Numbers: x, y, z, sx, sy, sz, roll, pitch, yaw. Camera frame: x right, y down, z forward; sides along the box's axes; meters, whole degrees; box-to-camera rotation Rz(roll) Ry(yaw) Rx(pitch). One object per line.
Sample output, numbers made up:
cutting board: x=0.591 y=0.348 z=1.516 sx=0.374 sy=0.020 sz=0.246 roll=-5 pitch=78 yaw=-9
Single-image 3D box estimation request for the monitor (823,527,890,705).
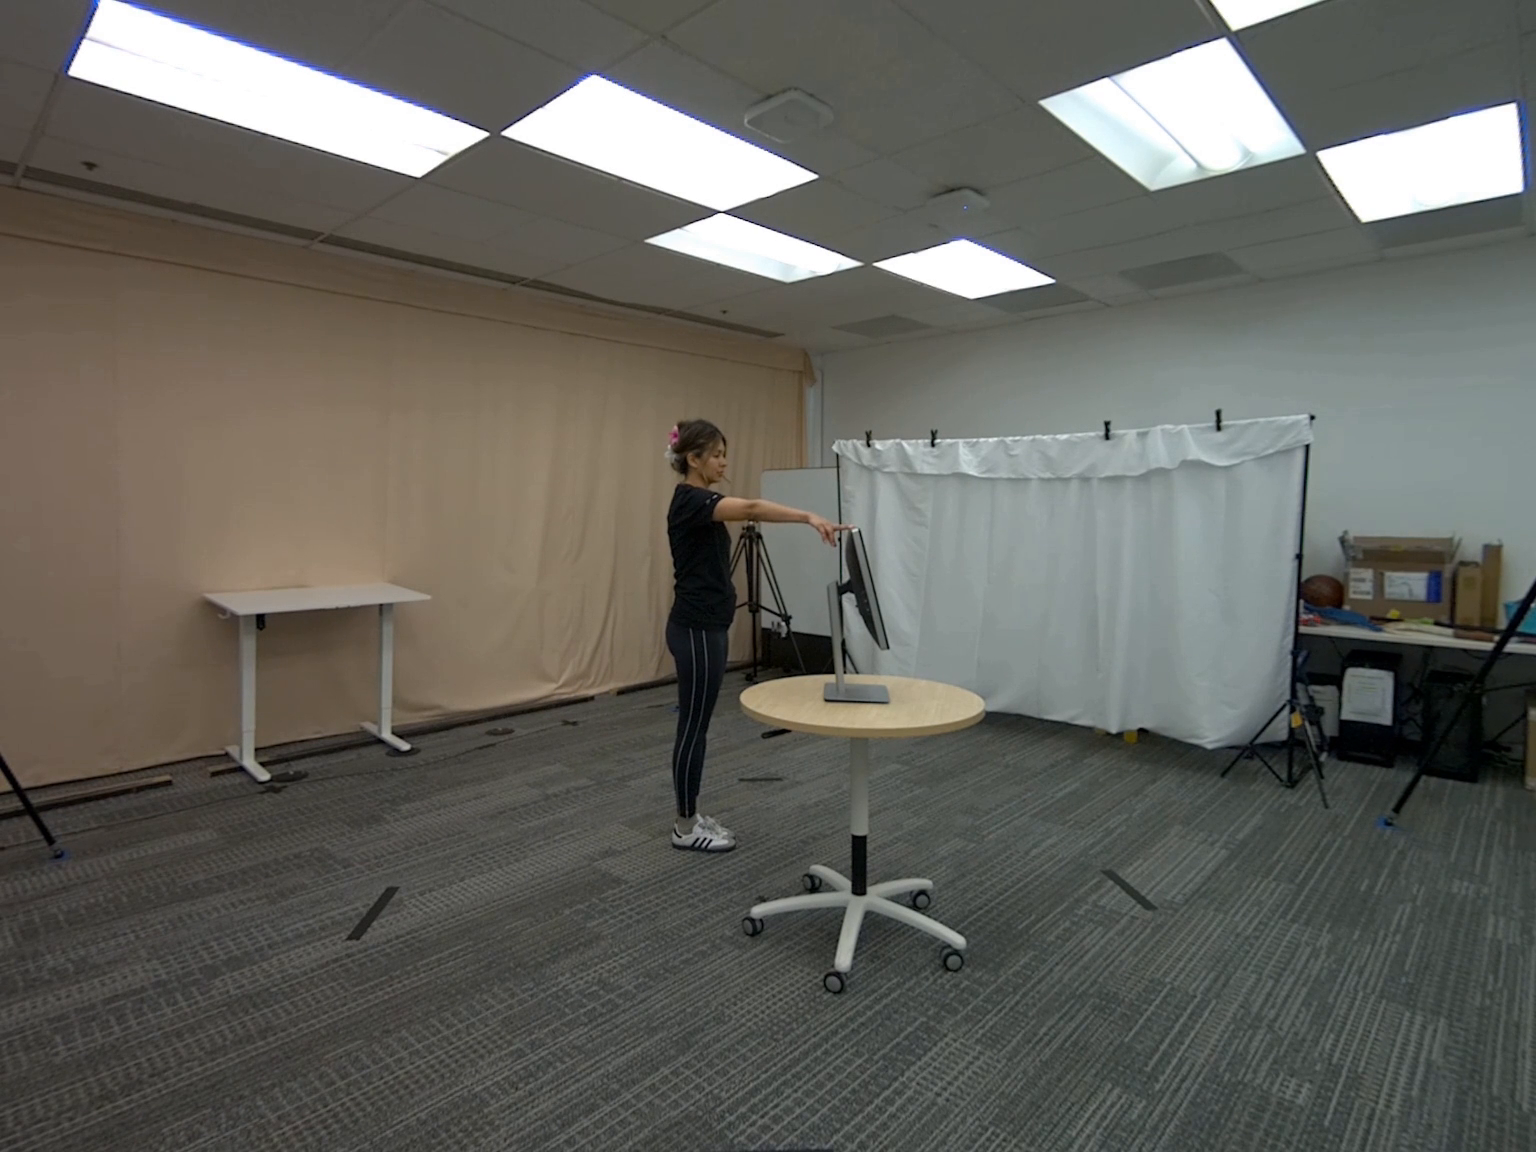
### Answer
monitor: x=0.284 y=0.124 z=2.723 sx=0.188 sy=0.522 sz=0.537 roll=0 pitch=3 yaw=4
